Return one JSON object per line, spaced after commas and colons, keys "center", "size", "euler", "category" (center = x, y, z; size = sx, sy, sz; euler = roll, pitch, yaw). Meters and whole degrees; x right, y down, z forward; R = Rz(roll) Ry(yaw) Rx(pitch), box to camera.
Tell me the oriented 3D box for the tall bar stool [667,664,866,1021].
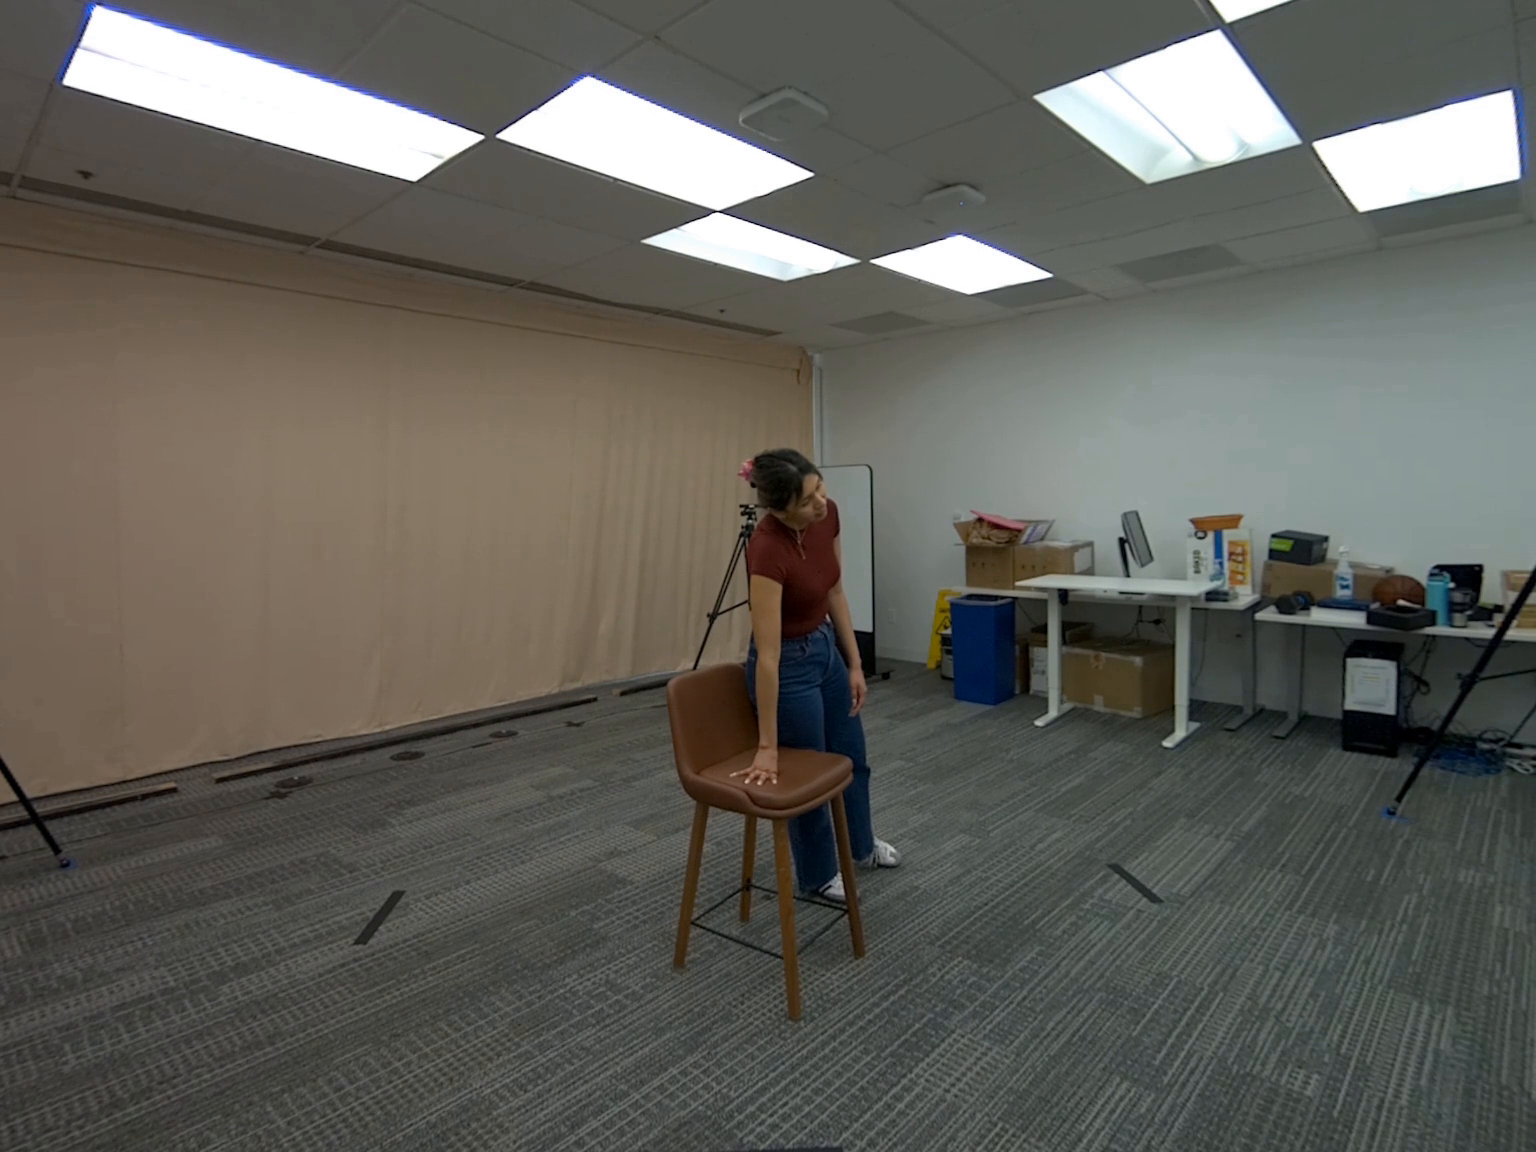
{"center": [-0.013, 0.750, 2.530], "size": [0.482, 0.888, 0.443], "euler": [0, 3, 36], "category": "tall bar stool"}
